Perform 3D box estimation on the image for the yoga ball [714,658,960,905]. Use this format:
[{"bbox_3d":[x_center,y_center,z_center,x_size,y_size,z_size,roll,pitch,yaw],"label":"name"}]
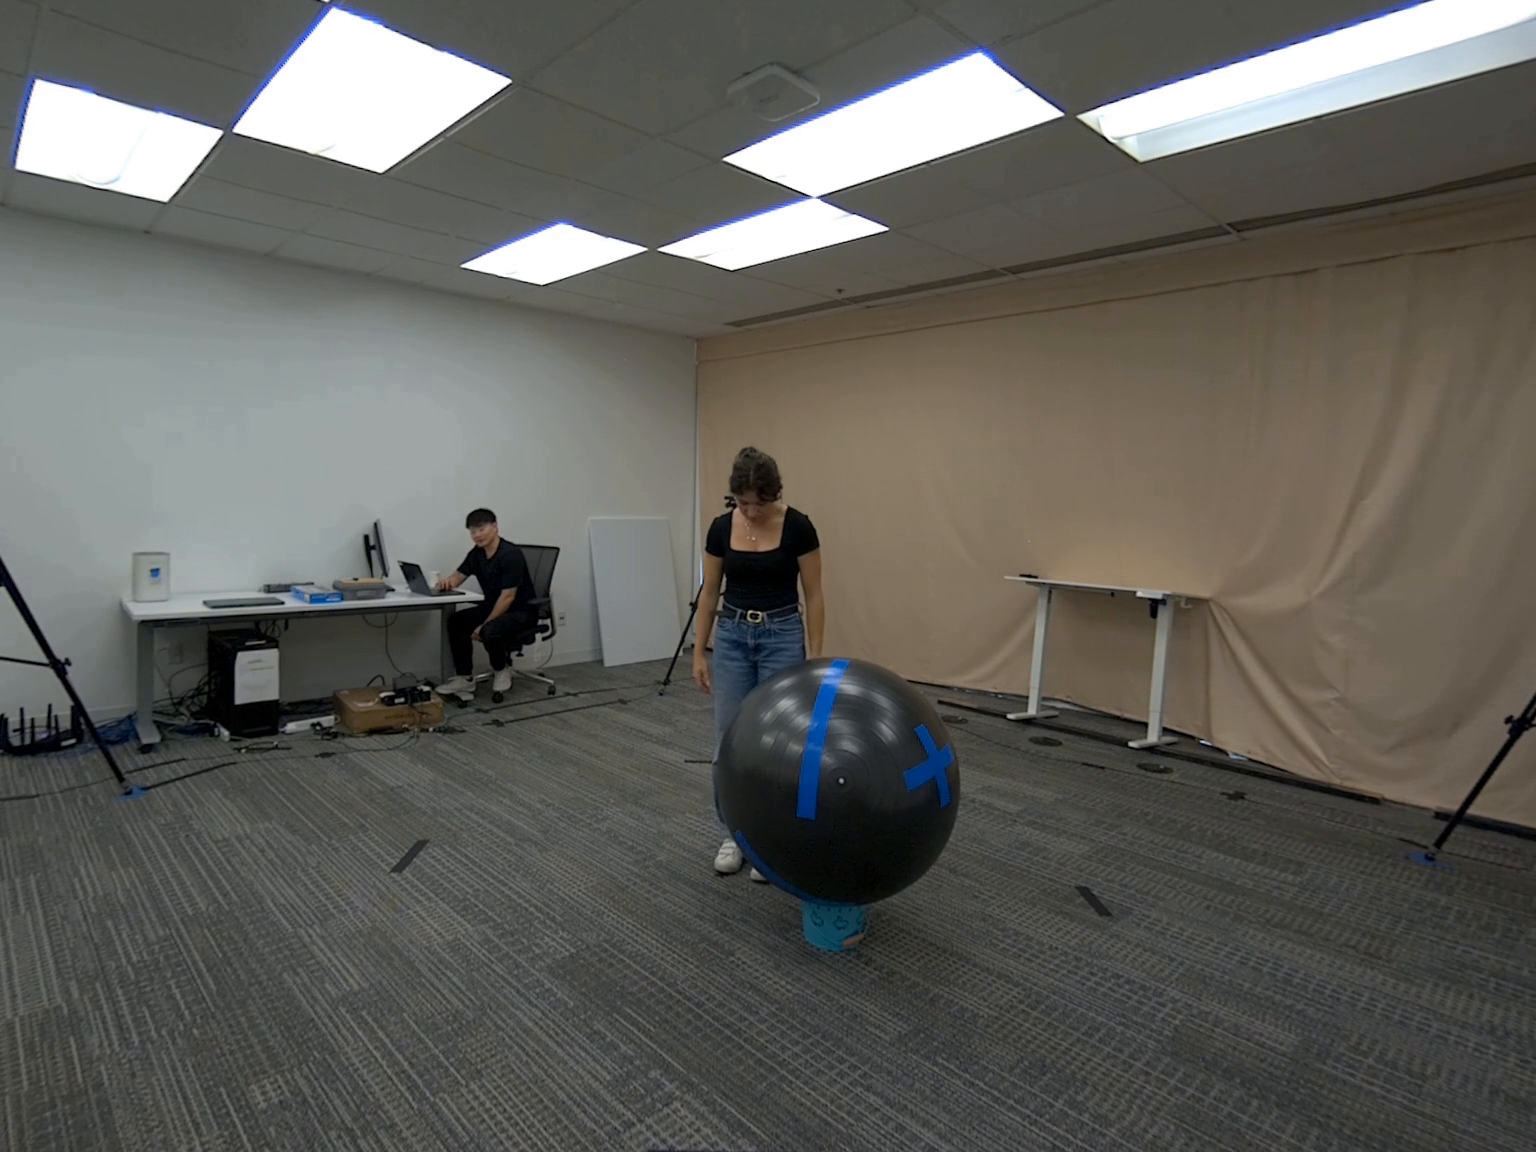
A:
[{"bbox_3d":[0.217,0.644,2.666,0.757,0.756,0.761,1,4,-1],"label":"yoga ball"}]
